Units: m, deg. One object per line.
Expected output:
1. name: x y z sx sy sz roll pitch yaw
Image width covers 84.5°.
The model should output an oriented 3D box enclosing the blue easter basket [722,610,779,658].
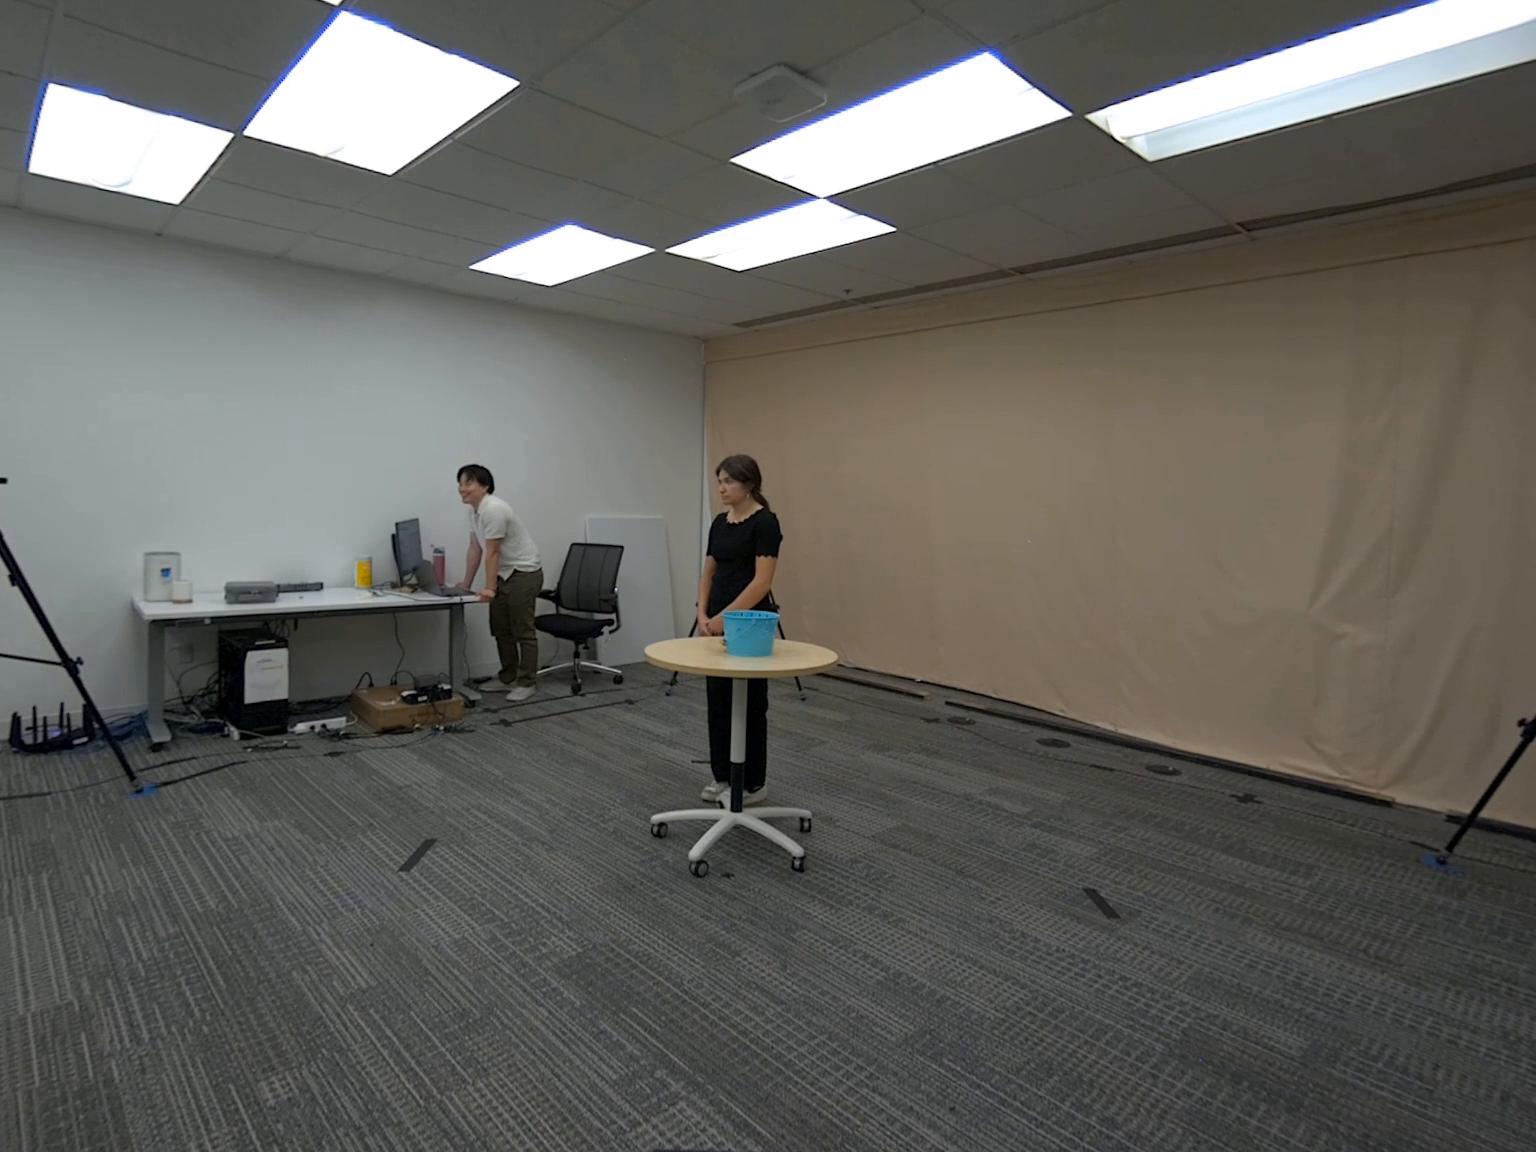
1. blue easter basket: -0.086 0.230 3.329 0.243 0.155 0.244 1 3 -1
